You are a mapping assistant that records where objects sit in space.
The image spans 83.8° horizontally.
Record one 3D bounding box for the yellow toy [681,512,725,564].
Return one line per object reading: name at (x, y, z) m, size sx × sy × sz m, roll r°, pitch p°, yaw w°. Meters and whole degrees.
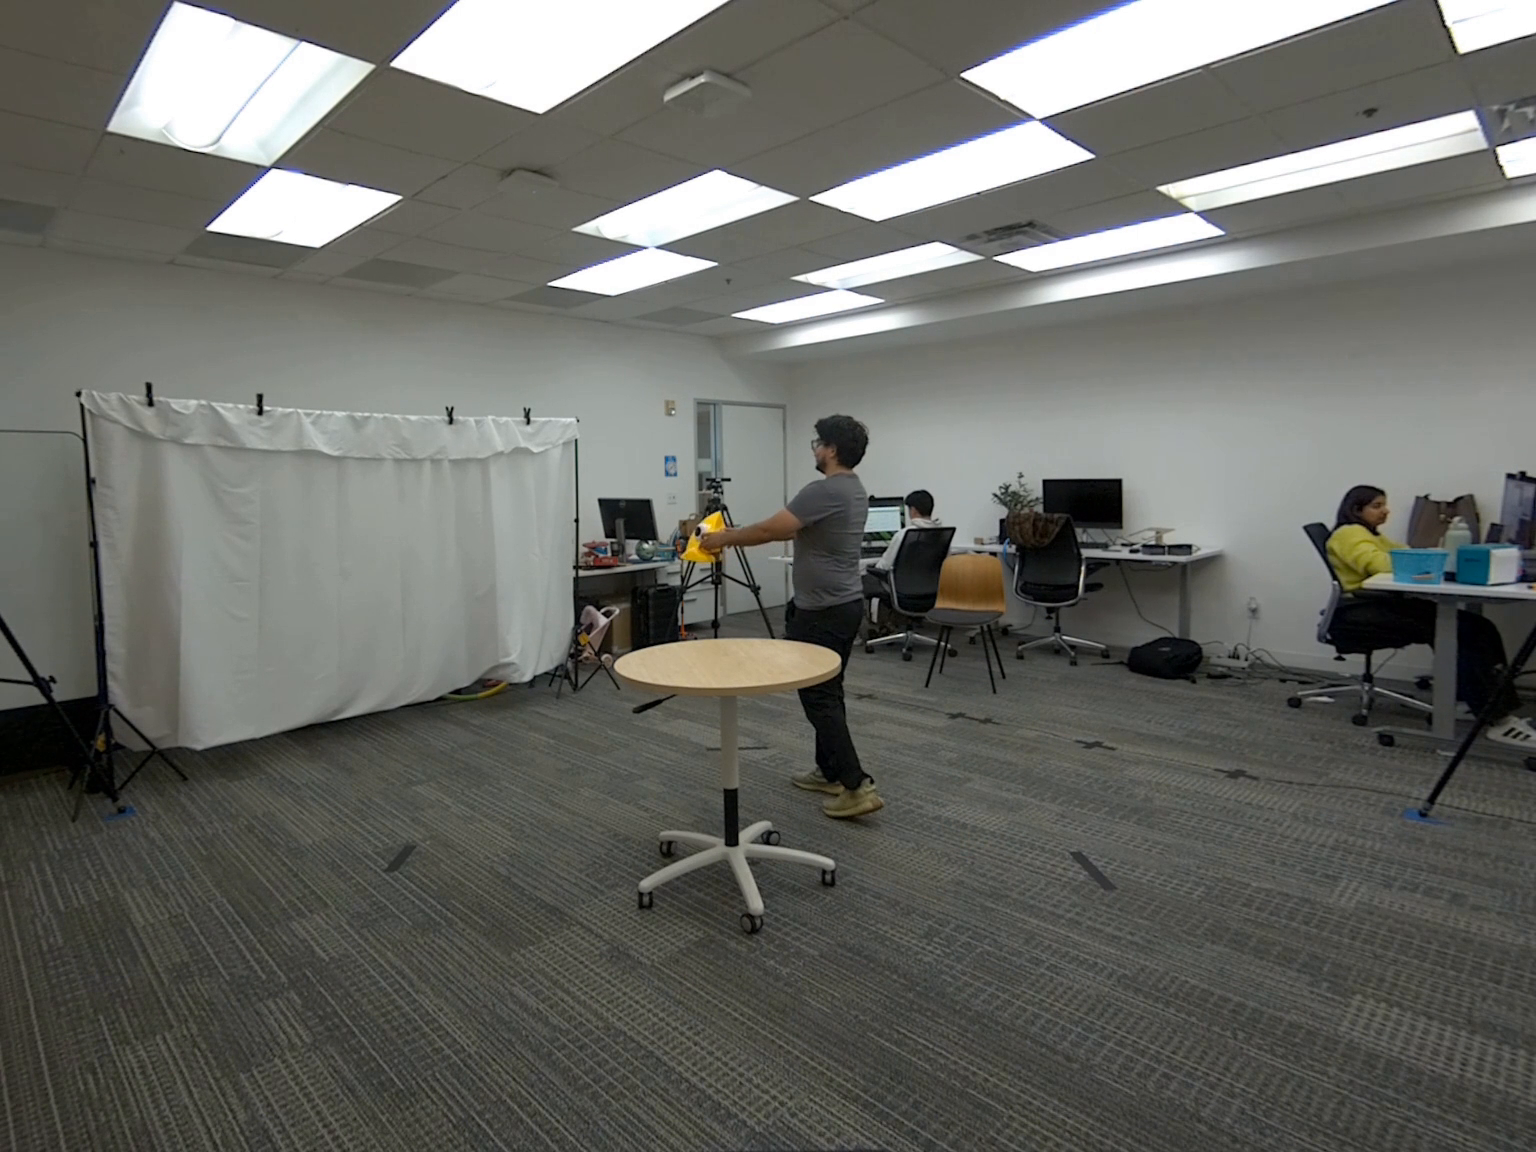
yellow toy at (-0.279, -0.191, 3.931) m, size 0.197 × 0.229 × 0.201 m, roll 8°, pitch 10°, yaw 22°
